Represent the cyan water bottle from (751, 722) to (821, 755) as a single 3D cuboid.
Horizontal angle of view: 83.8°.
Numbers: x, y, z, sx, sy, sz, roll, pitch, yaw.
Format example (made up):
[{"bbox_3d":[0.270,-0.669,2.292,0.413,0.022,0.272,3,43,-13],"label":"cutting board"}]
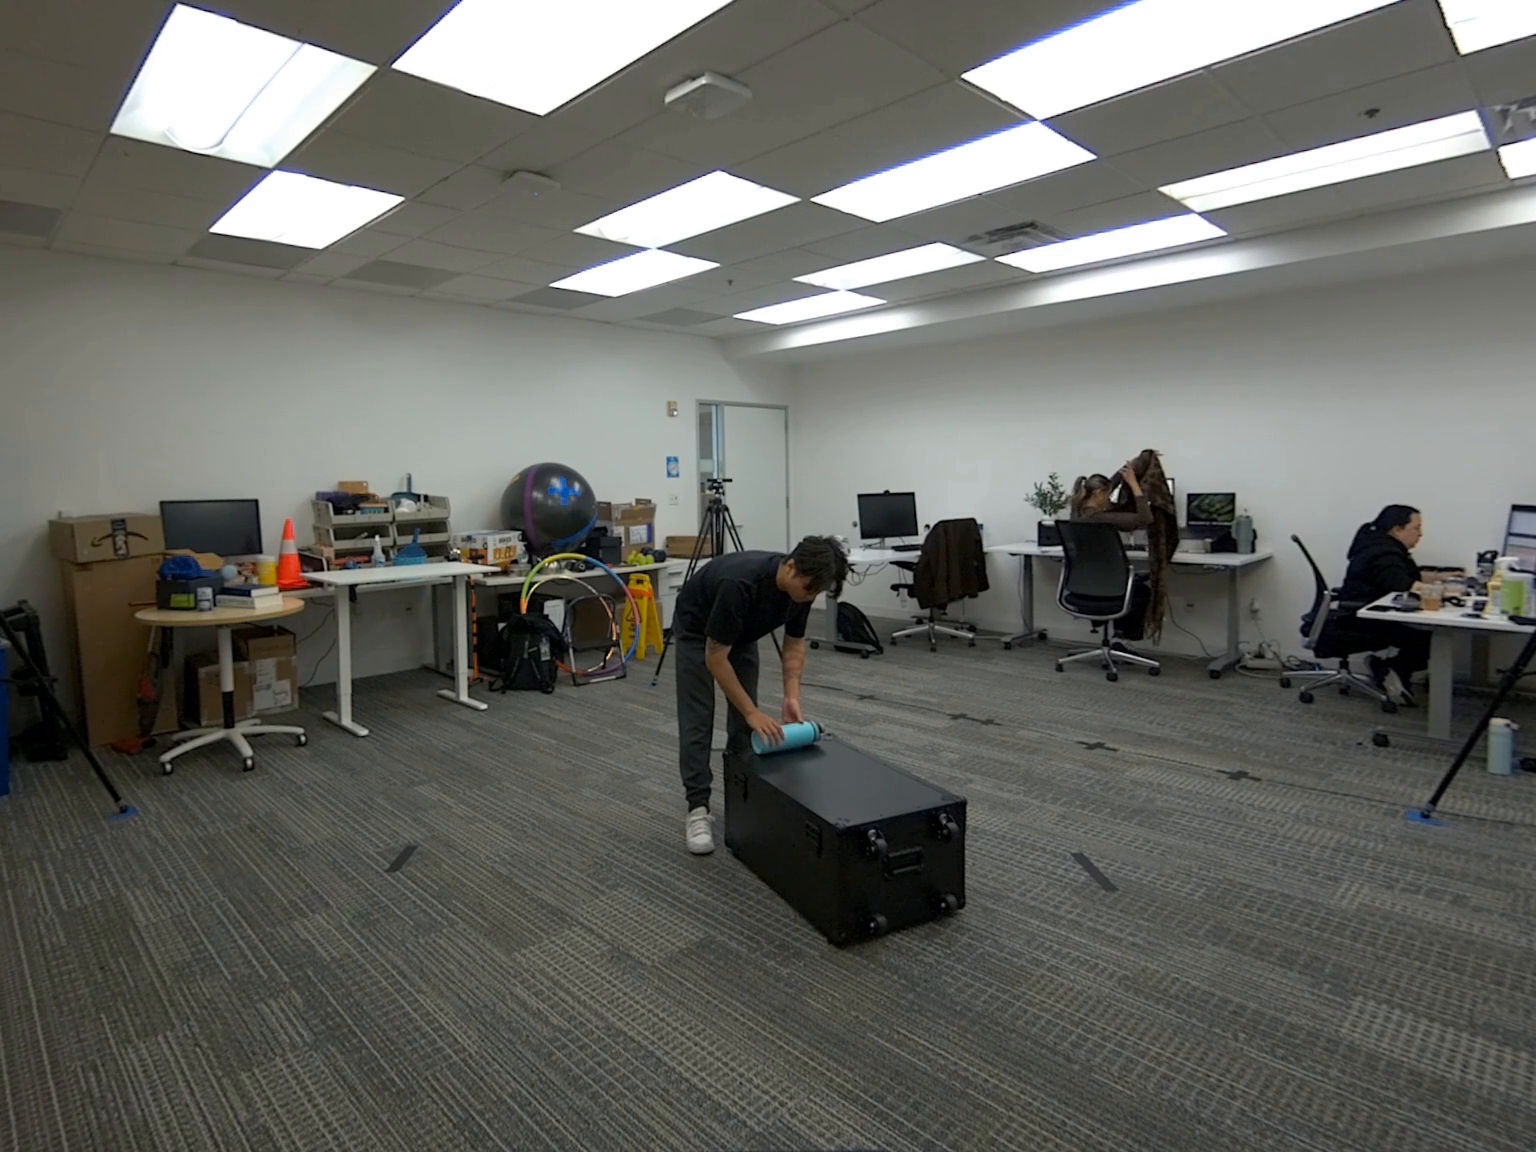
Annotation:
[{"bbox_3d":[0.084,0.602,3.225,0.278,0.092,0.094,-6,6,-24],"label":"cyan water bottle"}]
